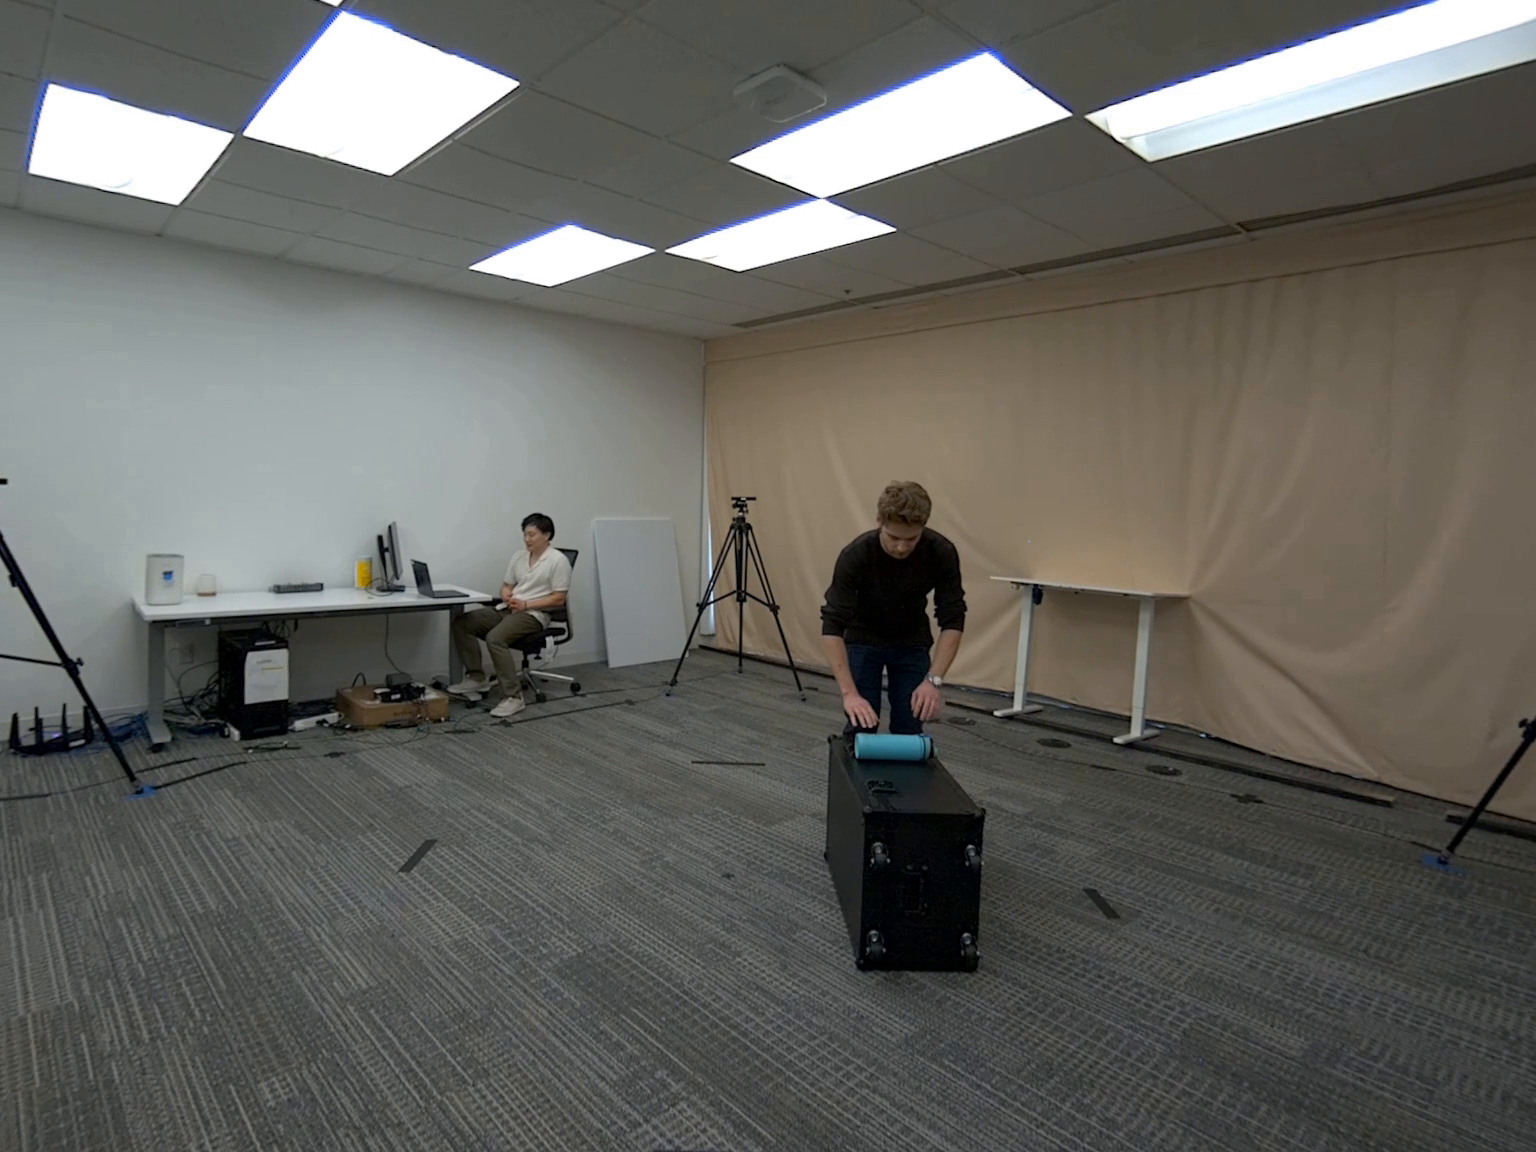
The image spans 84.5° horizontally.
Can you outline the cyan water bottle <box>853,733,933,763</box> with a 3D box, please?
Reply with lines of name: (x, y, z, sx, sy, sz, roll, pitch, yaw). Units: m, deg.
cyan water bottle: (0.450, 0.604, 2.971, 0.283, 0.092, 0.092, 1, 4, -1)
